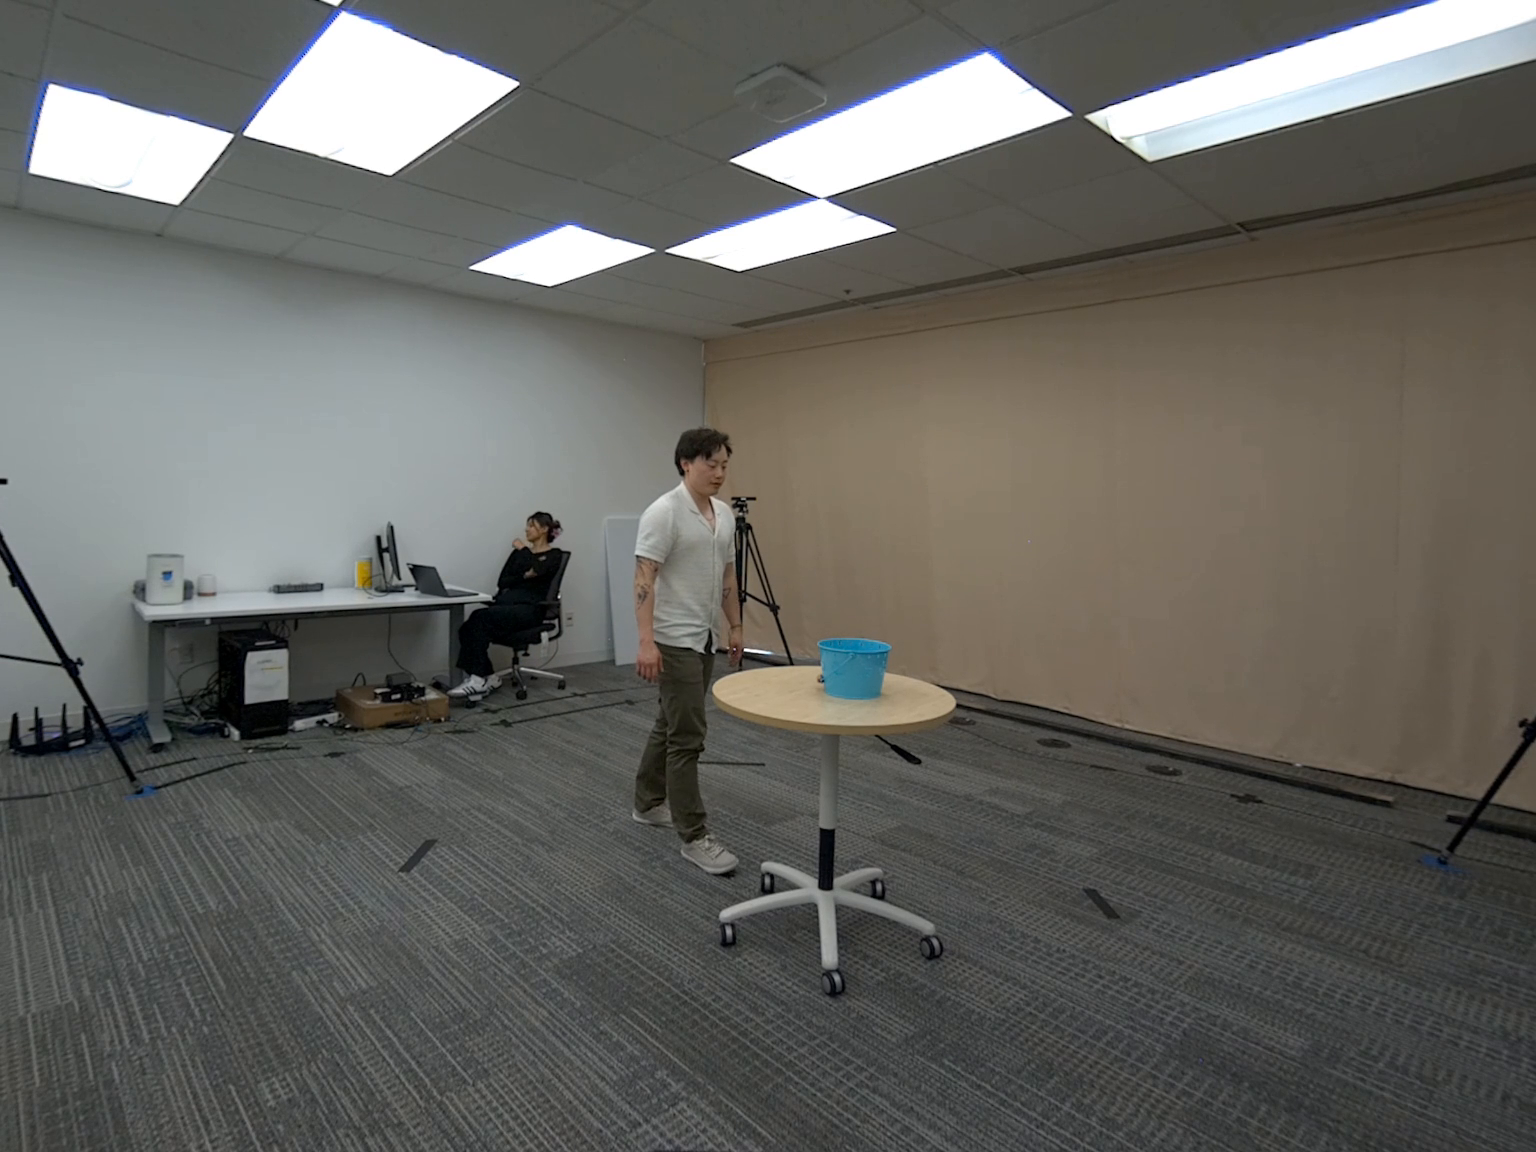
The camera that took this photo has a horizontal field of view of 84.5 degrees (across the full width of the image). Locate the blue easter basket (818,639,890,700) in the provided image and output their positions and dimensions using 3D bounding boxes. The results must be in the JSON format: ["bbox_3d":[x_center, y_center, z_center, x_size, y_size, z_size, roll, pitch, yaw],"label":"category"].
[{"bbox_3d":[0.268,0.300,2.679,0.243,0.155,0.244,2,6,-2],"label":"blue easter basket"}]
